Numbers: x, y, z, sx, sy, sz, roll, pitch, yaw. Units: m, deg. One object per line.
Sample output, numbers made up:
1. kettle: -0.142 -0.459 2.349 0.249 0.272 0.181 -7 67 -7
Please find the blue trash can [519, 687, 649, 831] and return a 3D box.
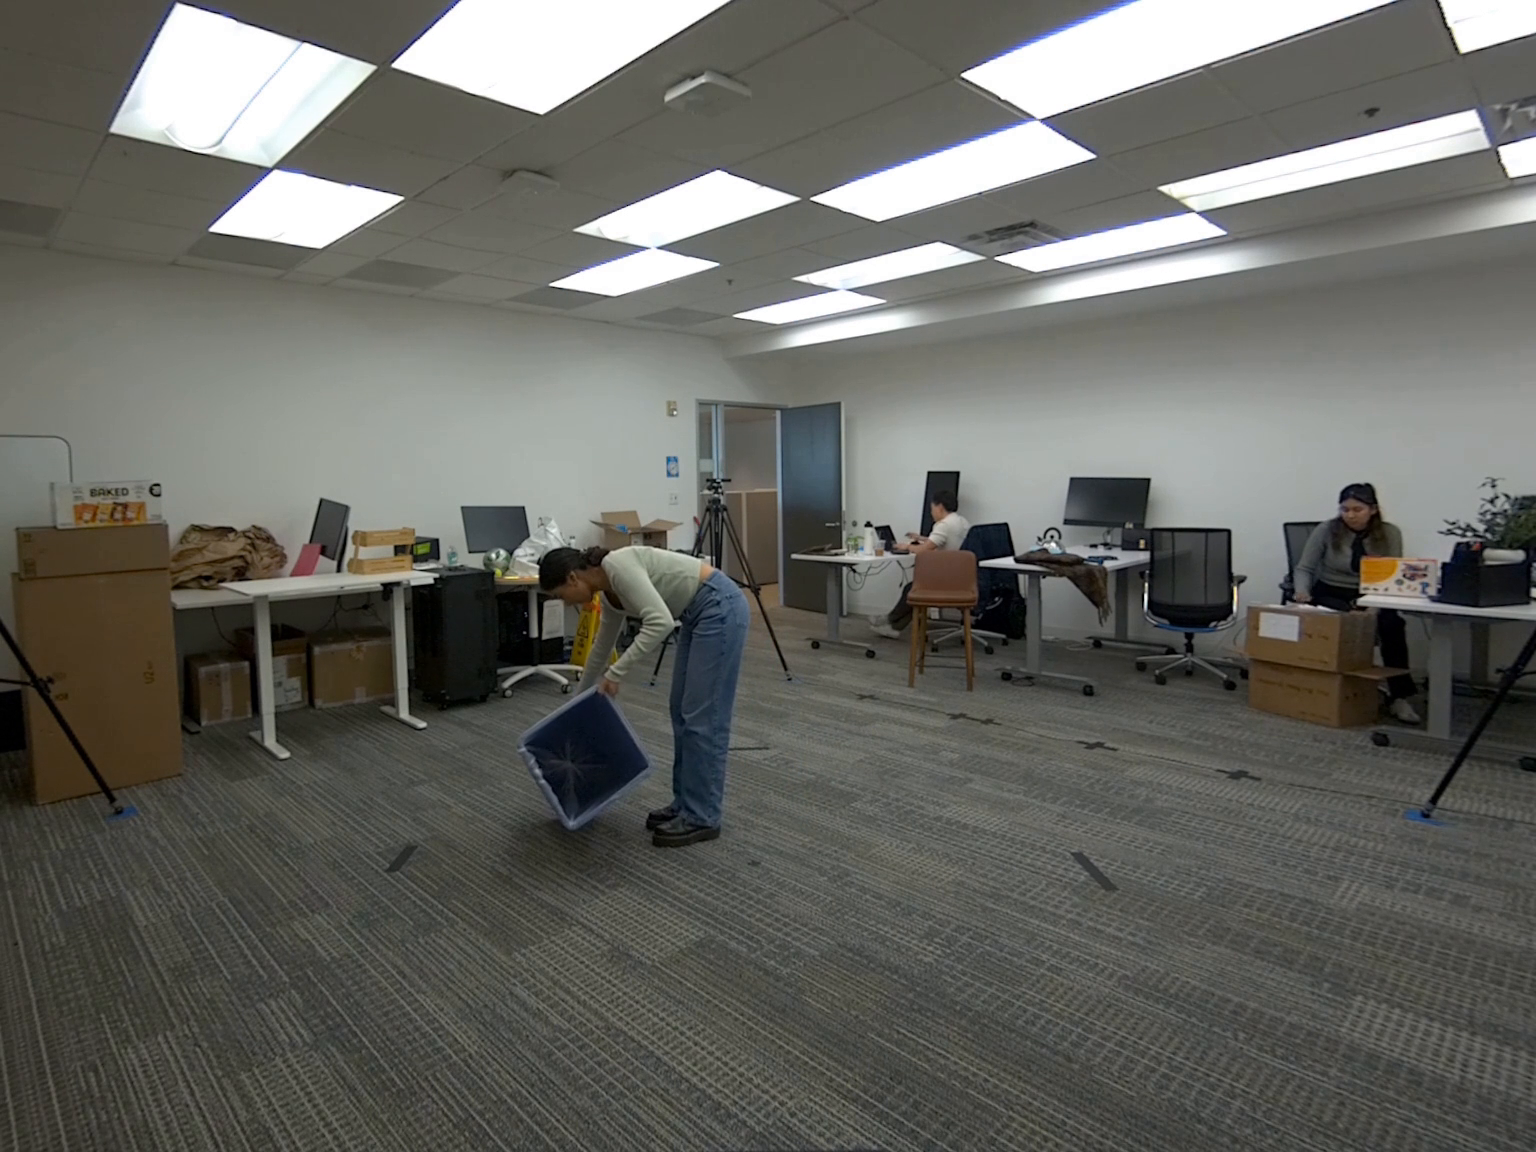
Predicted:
1. blue trash can: -0.728 0.701 3.308 0.371 0.380 0.714 -33 -3 -22
